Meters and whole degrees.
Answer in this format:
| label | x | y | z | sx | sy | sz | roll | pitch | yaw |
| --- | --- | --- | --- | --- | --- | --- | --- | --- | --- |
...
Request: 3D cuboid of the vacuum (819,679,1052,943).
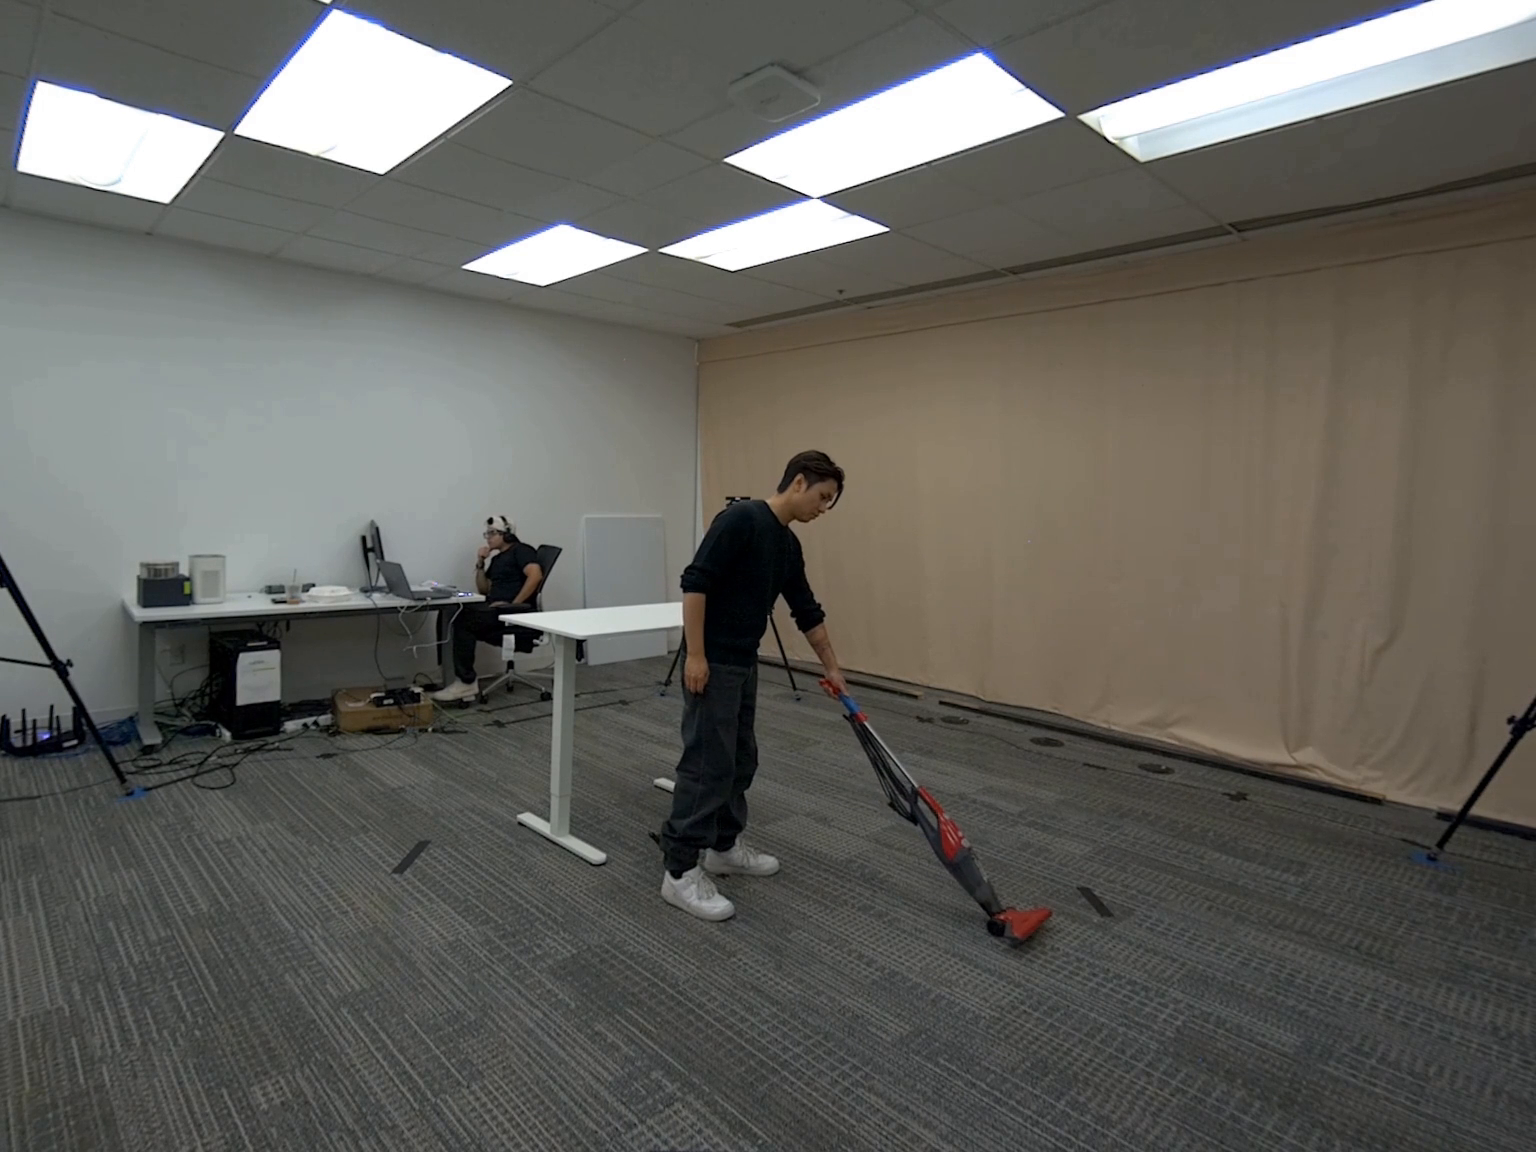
| label | x | y | z | sx | sy | sz | roll | pitch | yaw |
| --- | --- | --- | --- | --- | --- | --- | --- | --- | --- |
| vacuum | 0.504 | 0.785 | 2.986 | 0.246 | 0.143 | 1.078 | 3 | 39 | -51 |
